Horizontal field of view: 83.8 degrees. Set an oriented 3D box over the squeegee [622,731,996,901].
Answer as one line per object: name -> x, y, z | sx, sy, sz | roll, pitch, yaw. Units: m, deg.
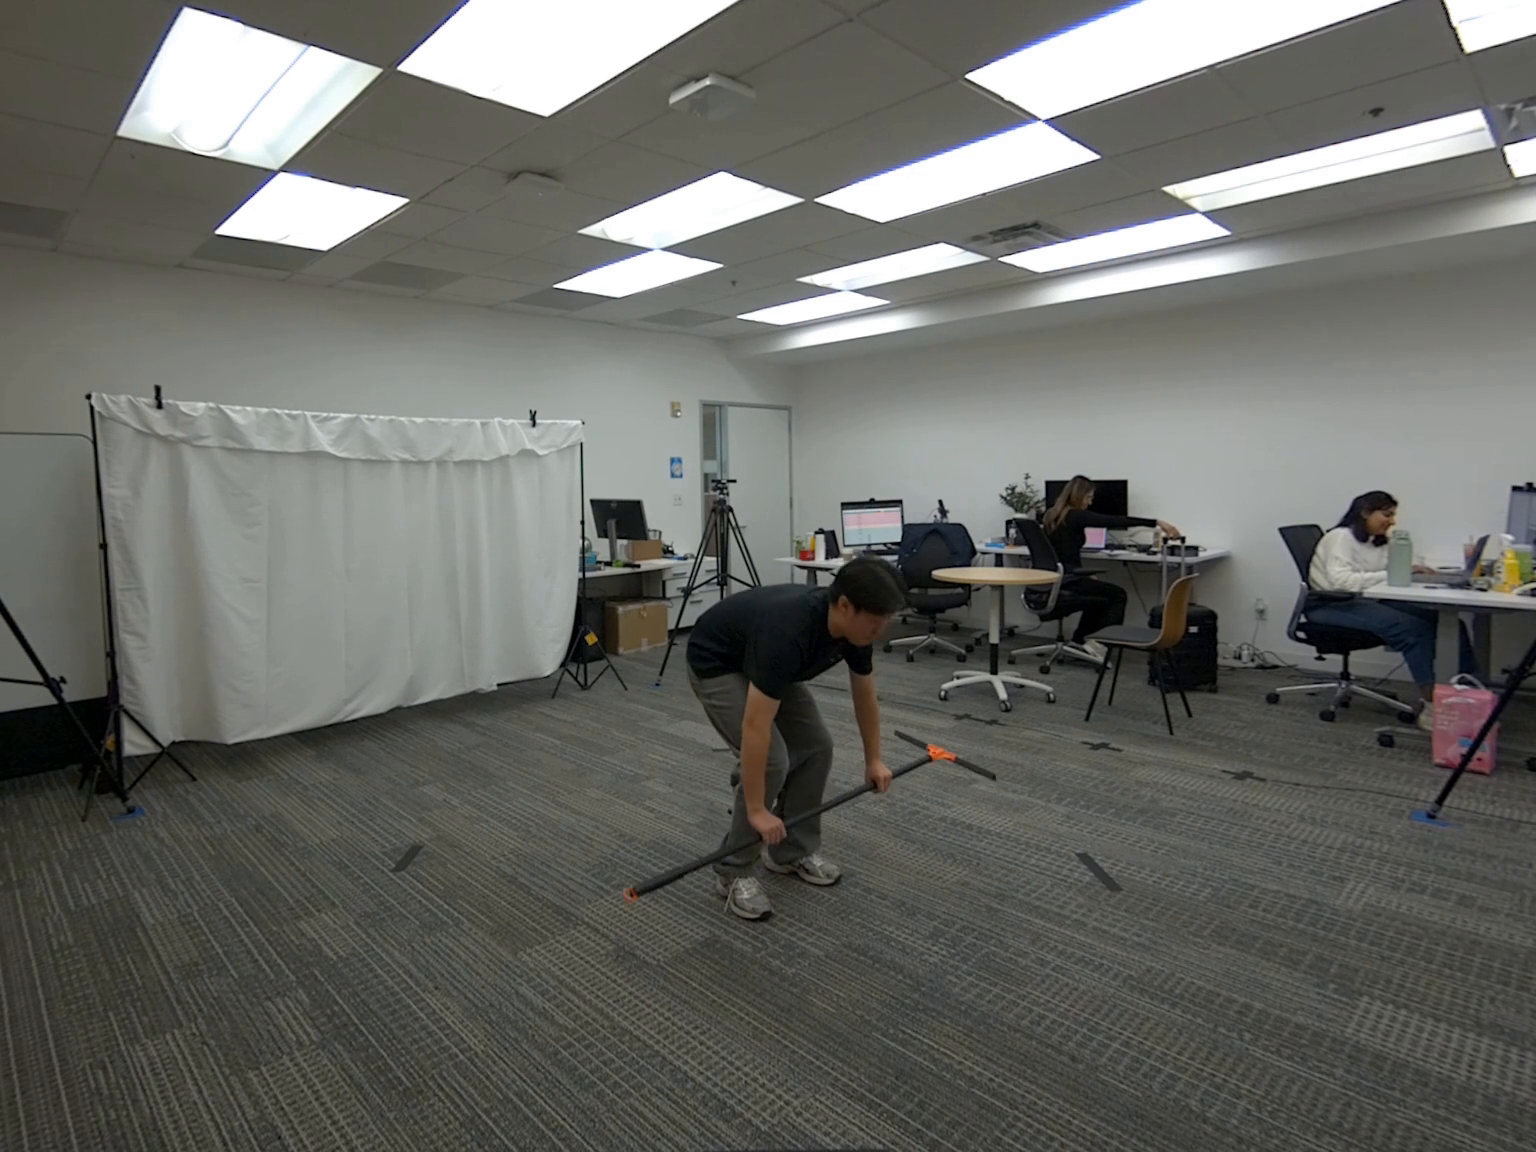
squeegee -> 0.165, 0.740, 2.743 | 1.499, 0.052, 0.453 | -9, 20, -44
